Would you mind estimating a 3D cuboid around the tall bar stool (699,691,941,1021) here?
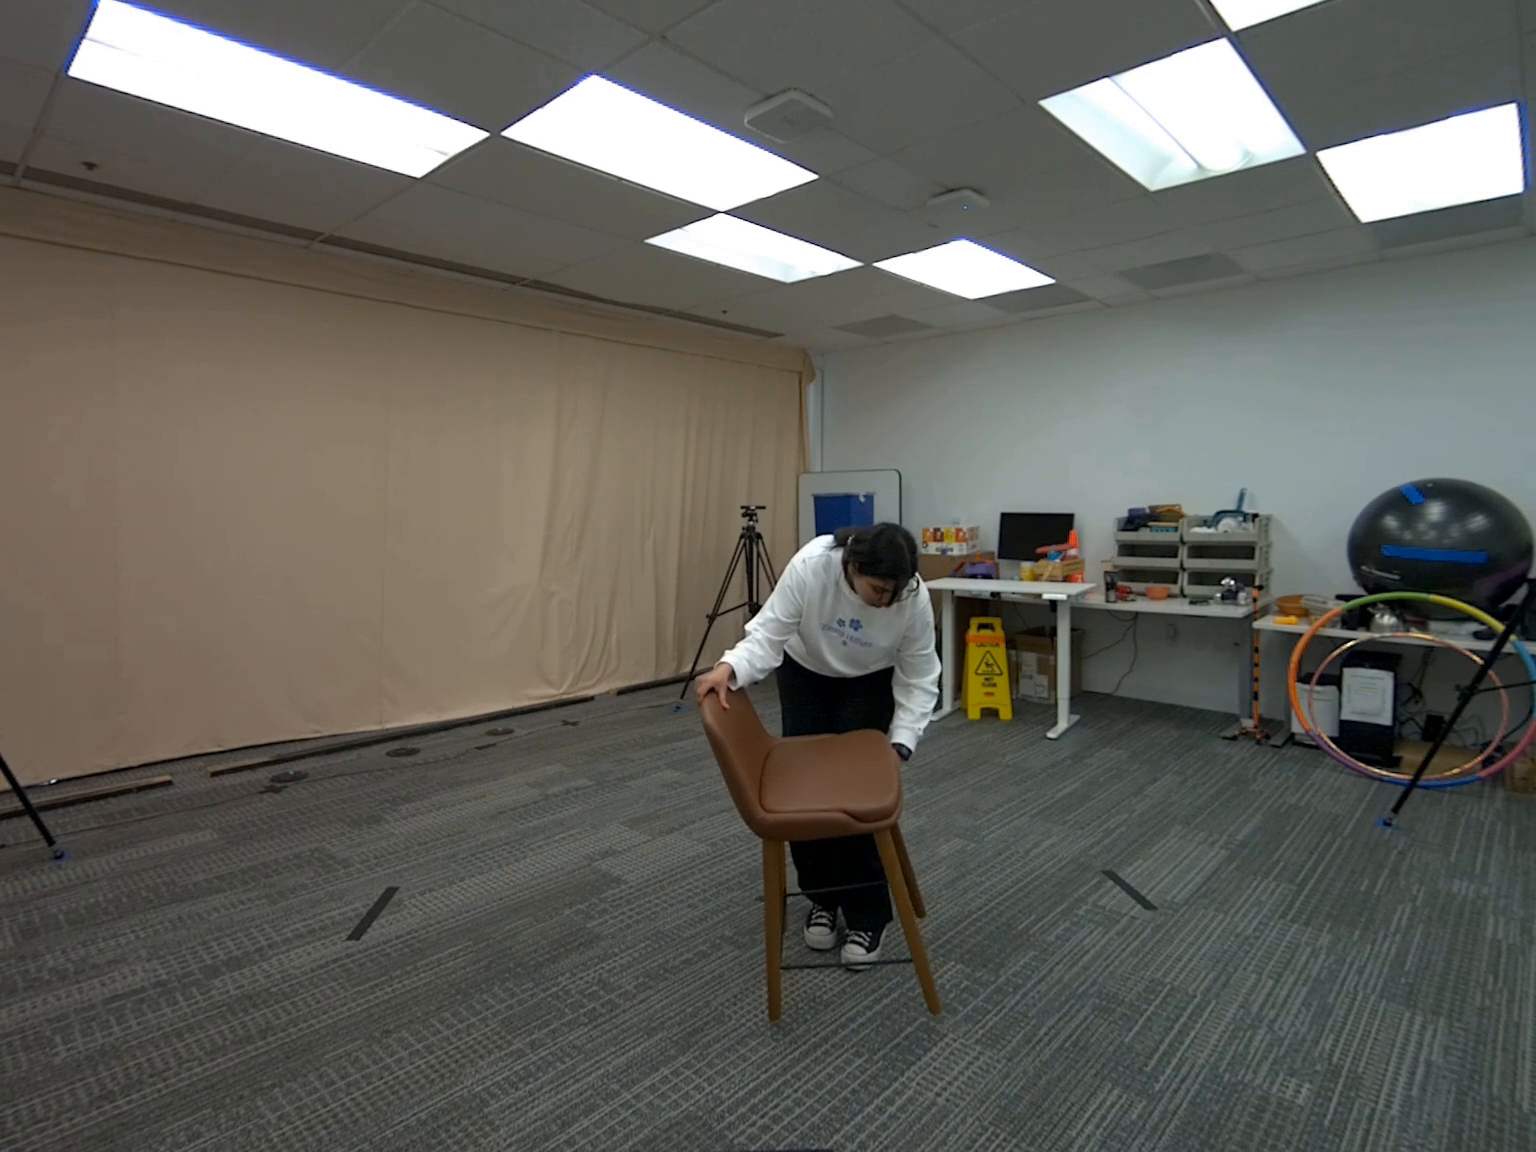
[{"bbox_3d":[0.161,0.690,2.291,0.472,0.881,0.456,-11,12,10],"label":"tall bar stool"}]
